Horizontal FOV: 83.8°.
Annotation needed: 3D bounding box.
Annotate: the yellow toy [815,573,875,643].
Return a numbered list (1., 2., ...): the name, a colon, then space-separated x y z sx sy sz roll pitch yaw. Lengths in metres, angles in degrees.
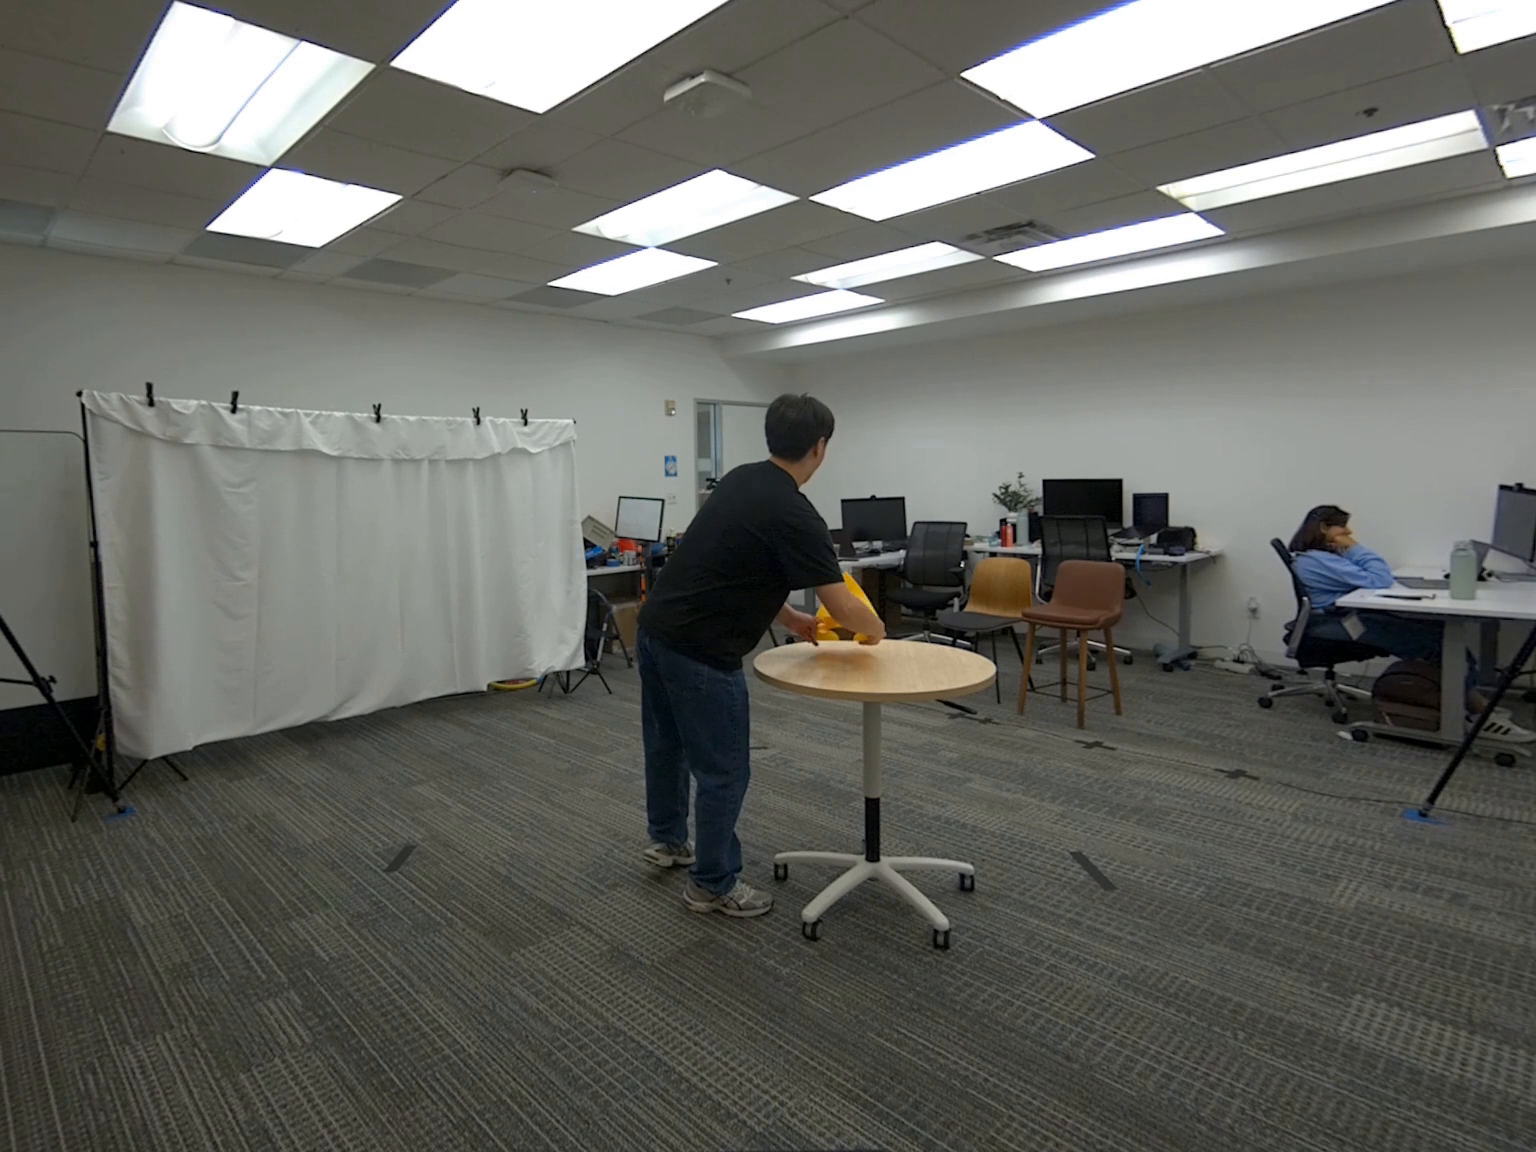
1. yellow toy: 0.262 0.101 2.898 0.205 0.232 0.191 0 -7 3
